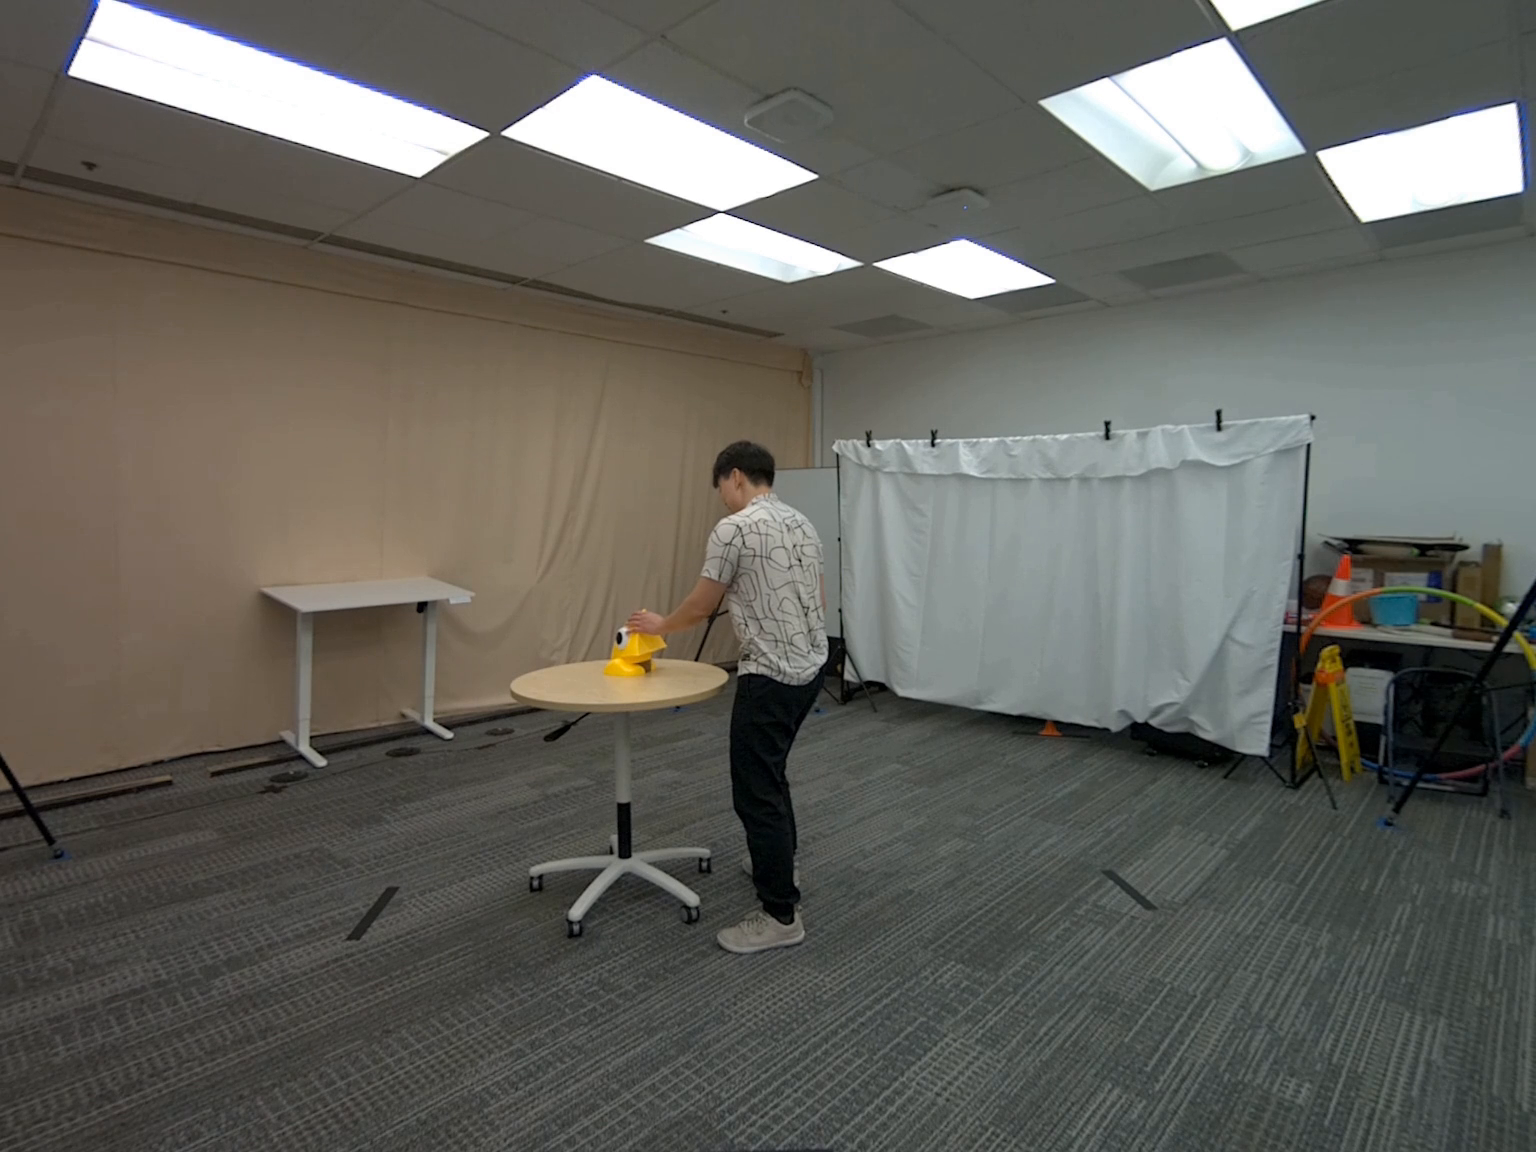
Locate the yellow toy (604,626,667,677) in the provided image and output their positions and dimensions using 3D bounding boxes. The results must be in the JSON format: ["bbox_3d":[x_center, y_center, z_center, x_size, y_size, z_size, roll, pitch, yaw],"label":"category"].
[{"bbox_3d":[-0.501,0.242,3.116,0.198,0.230,0.200,1,4,25],"label":"yellow toy"}]
